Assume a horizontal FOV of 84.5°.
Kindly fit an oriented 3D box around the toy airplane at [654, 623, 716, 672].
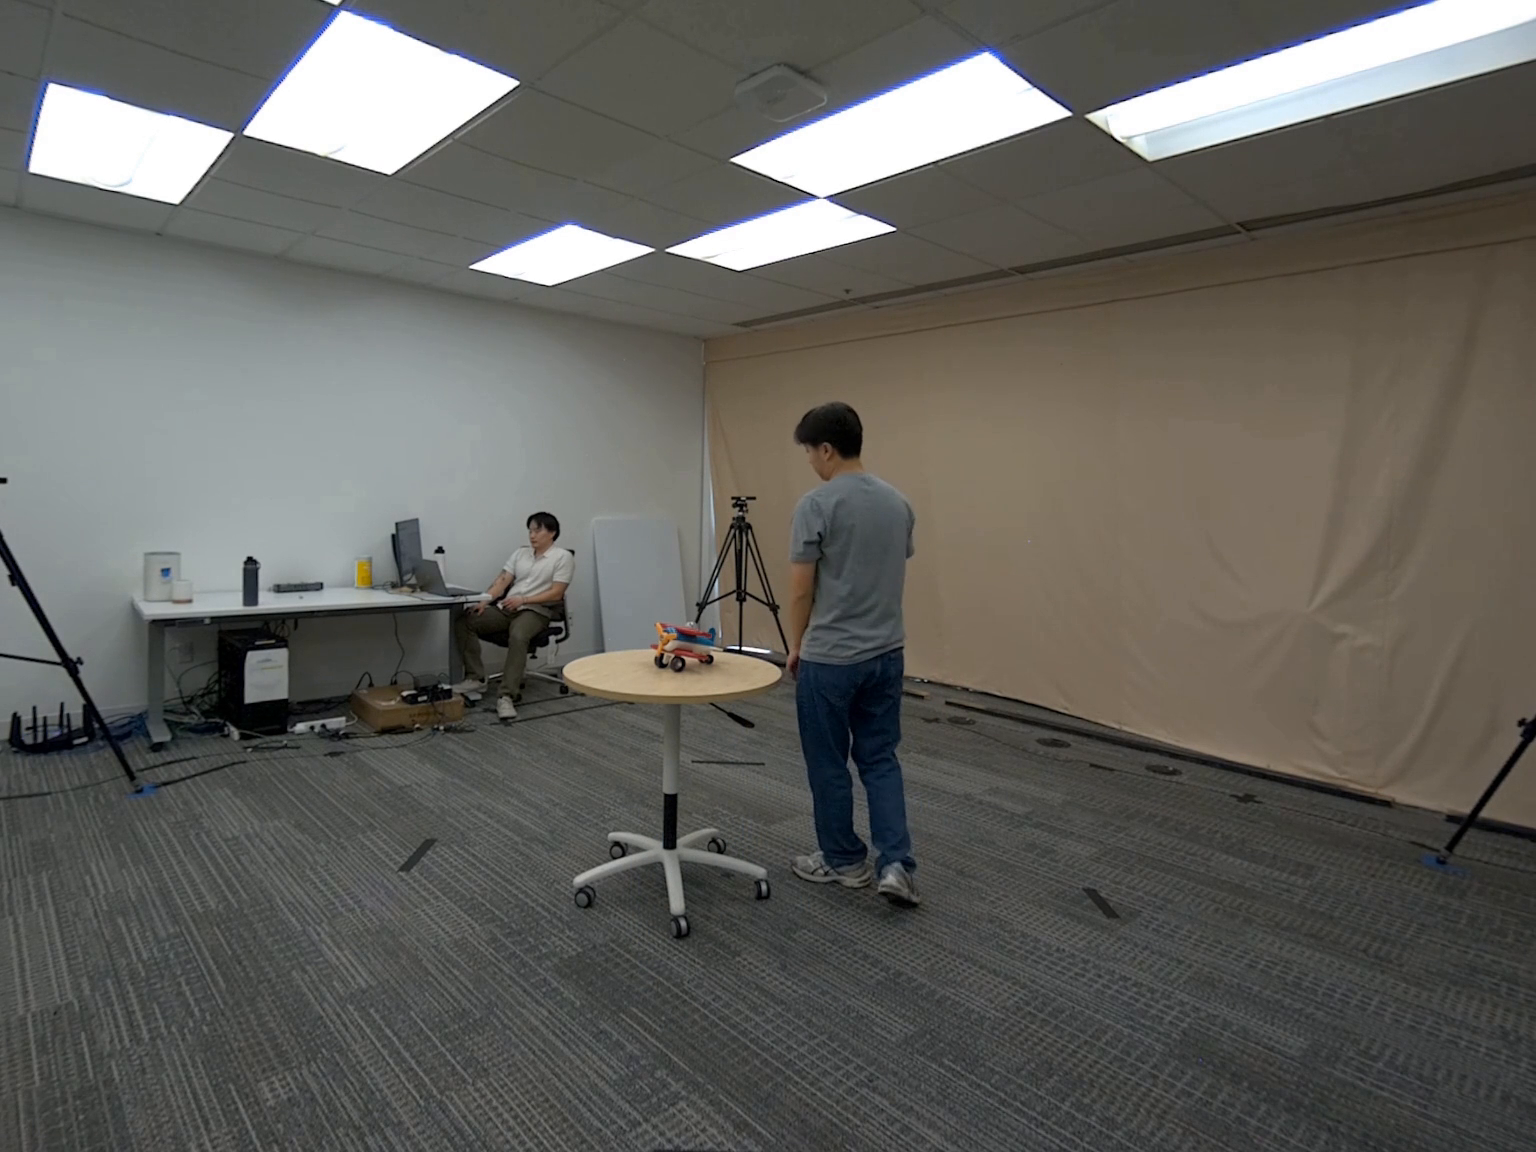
[{"bbox_3d":[-0.303,0.247,3.026,0.254,0.156,0.257,4,7,15],"label":"toy airplane"}]
